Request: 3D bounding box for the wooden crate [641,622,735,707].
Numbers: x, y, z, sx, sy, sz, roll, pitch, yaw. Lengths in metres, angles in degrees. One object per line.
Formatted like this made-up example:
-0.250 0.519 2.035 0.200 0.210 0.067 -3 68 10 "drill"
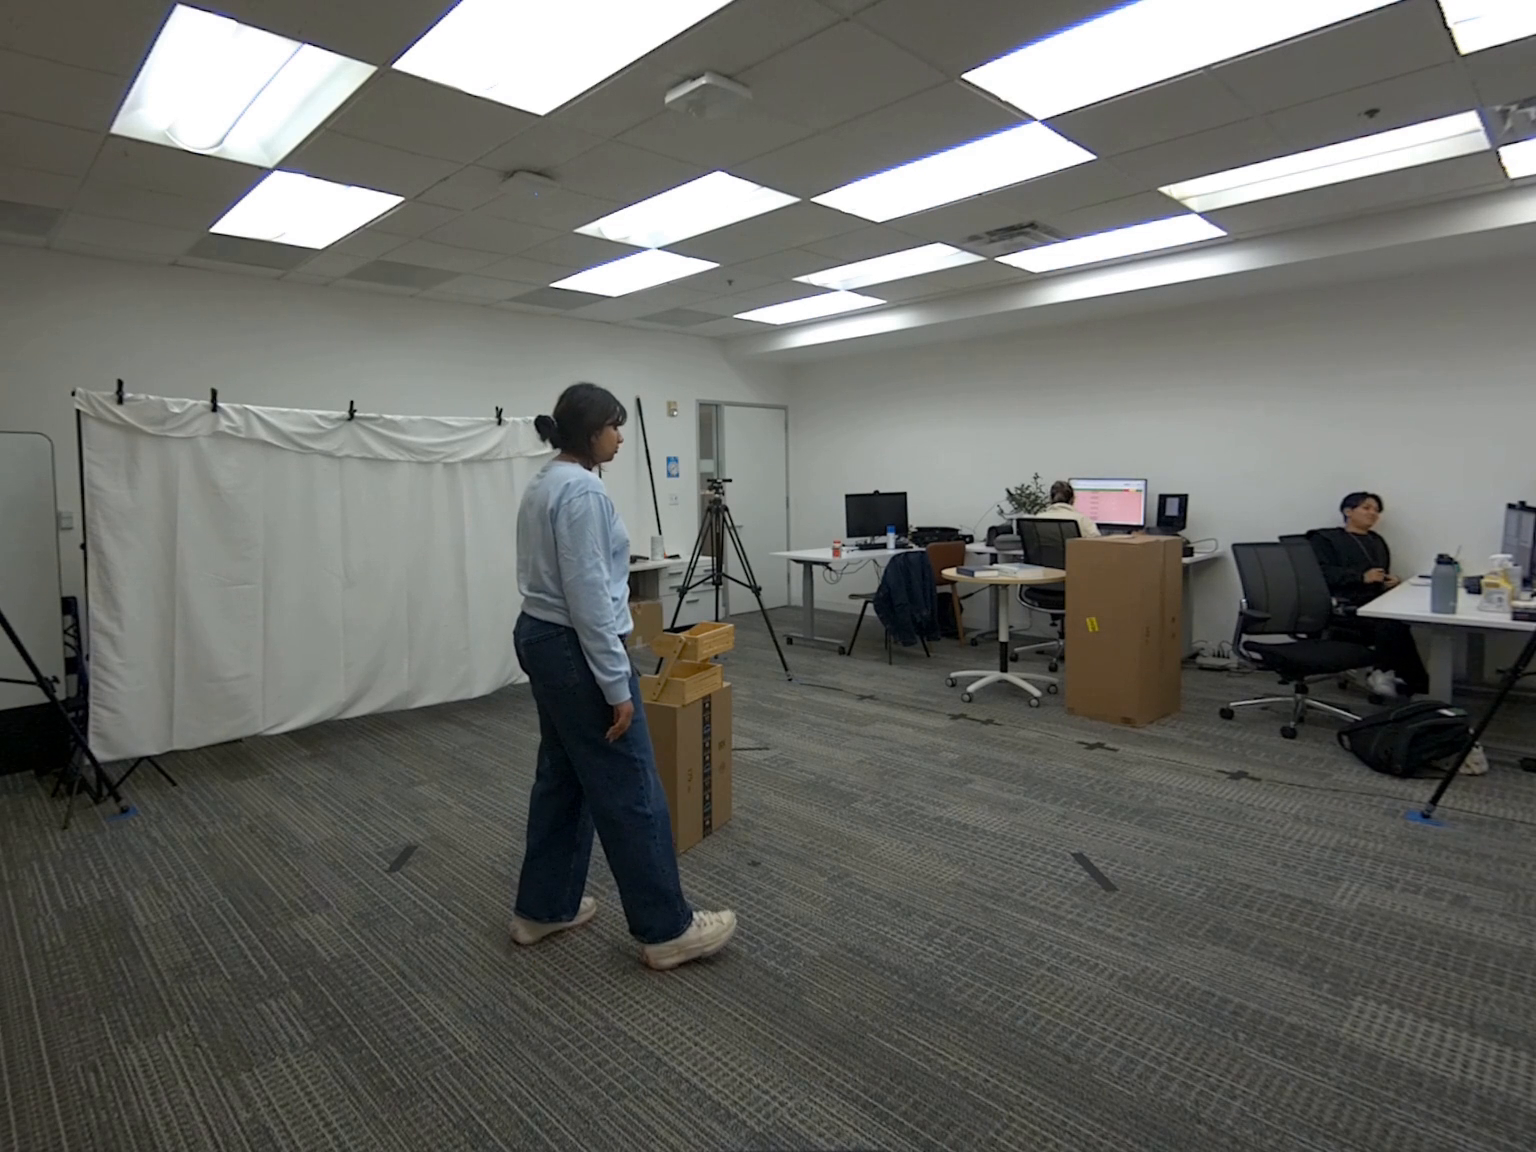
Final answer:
-0.340 0.327 3.337 0.309 0.272 0.318 3 6 25 "wooden crate"
